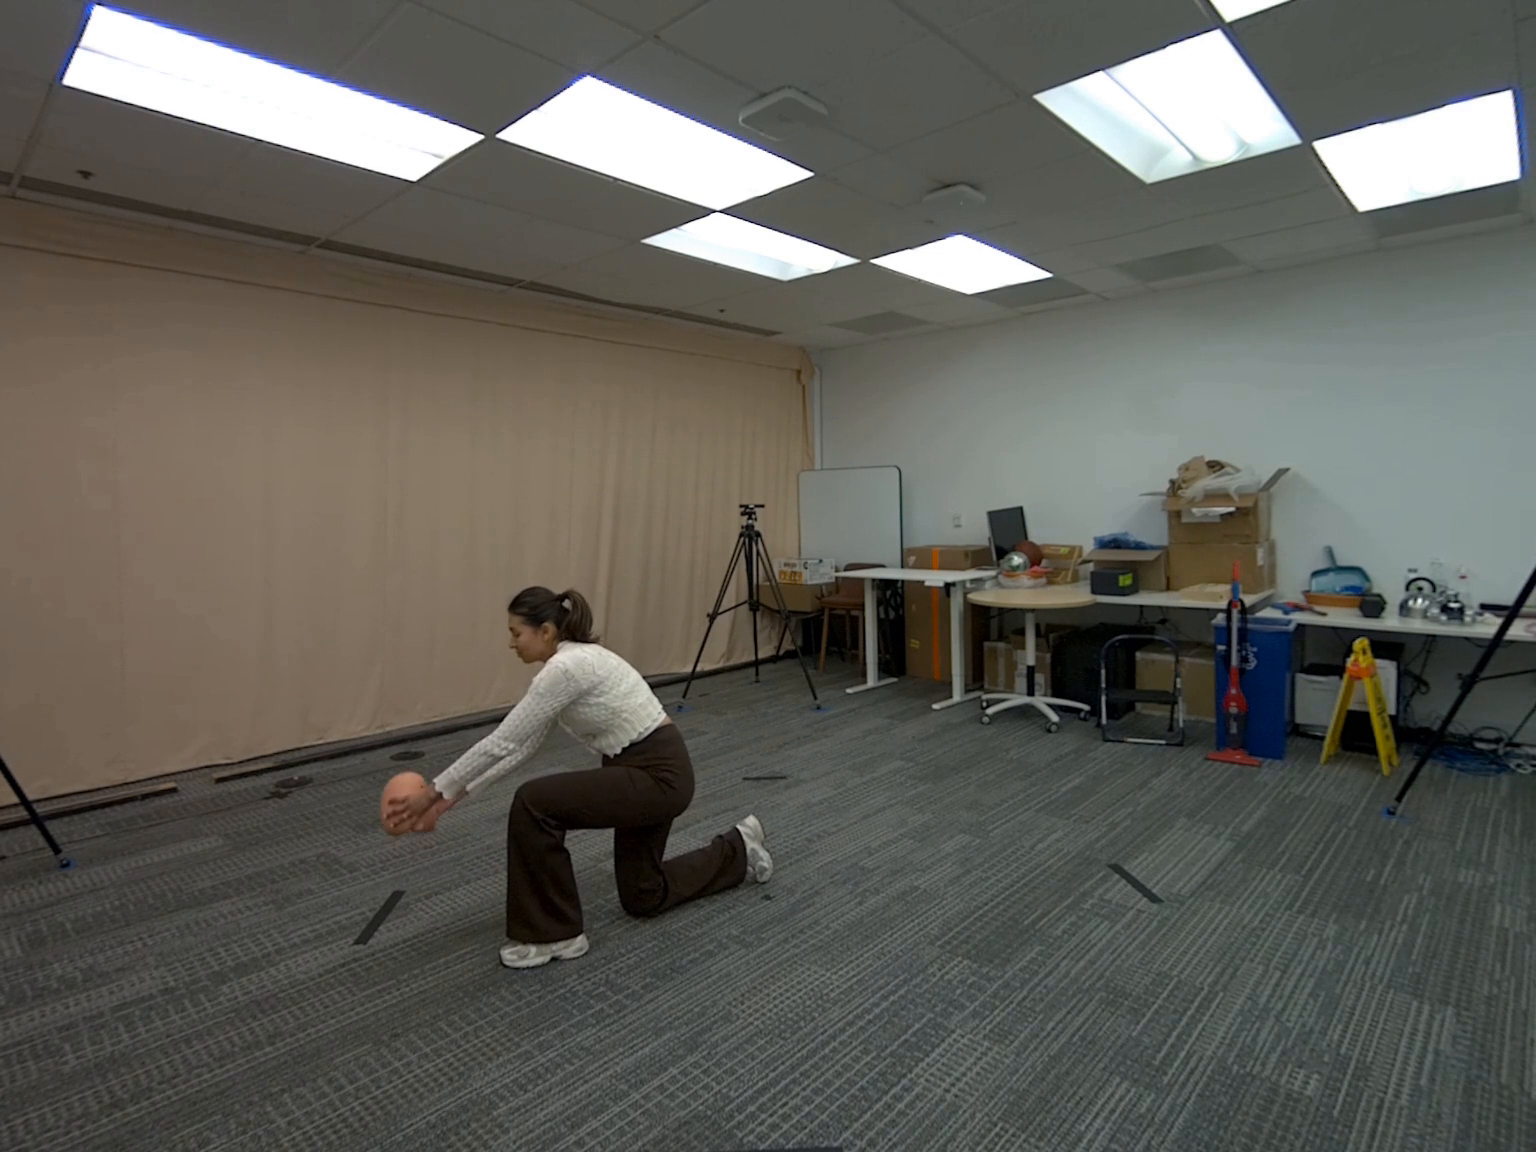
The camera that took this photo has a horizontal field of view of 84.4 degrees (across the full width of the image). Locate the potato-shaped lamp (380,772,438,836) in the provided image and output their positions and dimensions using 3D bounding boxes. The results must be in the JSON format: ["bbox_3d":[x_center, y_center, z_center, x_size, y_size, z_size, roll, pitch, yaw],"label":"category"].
[{"bbox_3d":[-1.158,0.737,2.717,0.170,0.201,0.163,-8,-16,-7],"label":"potato-shaped lamp"}]
